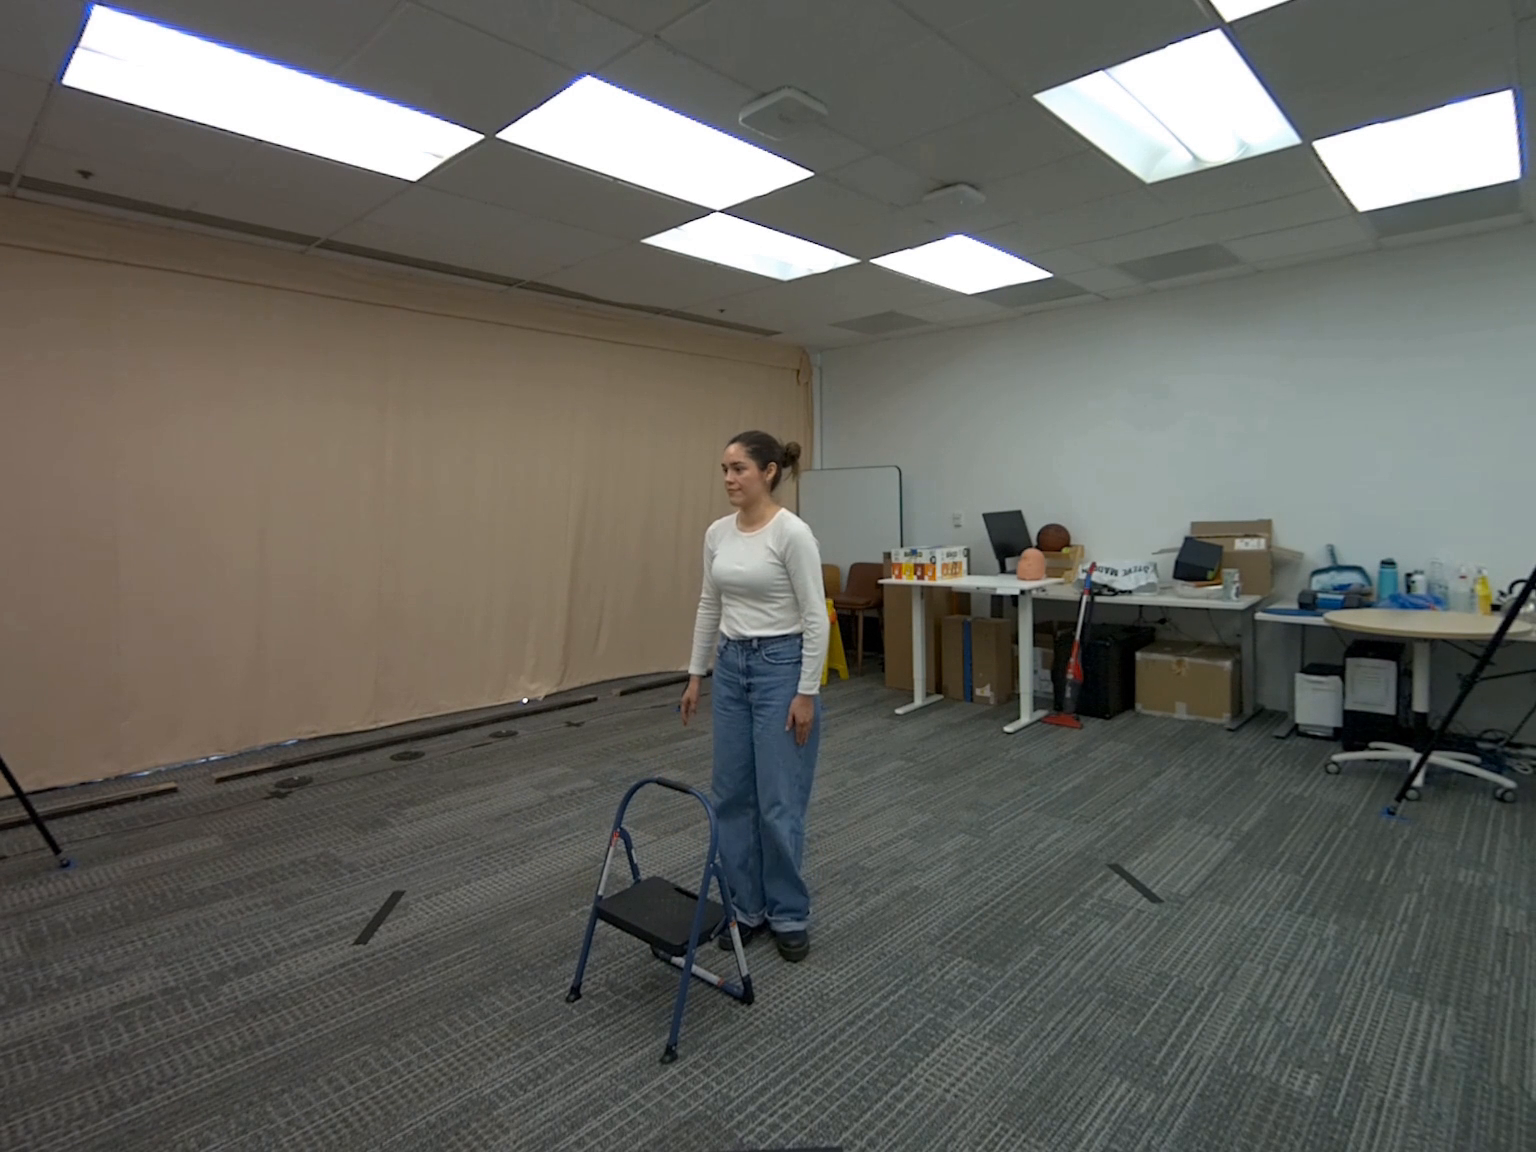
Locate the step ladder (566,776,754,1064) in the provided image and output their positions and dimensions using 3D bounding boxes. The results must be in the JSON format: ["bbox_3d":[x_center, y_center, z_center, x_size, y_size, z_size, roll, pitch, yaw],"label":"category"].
[{"bbox_3d":[-0.306,0.899,2.355,0.445,0.604,0.339,2,5,41],"label":"step ladder"}]
